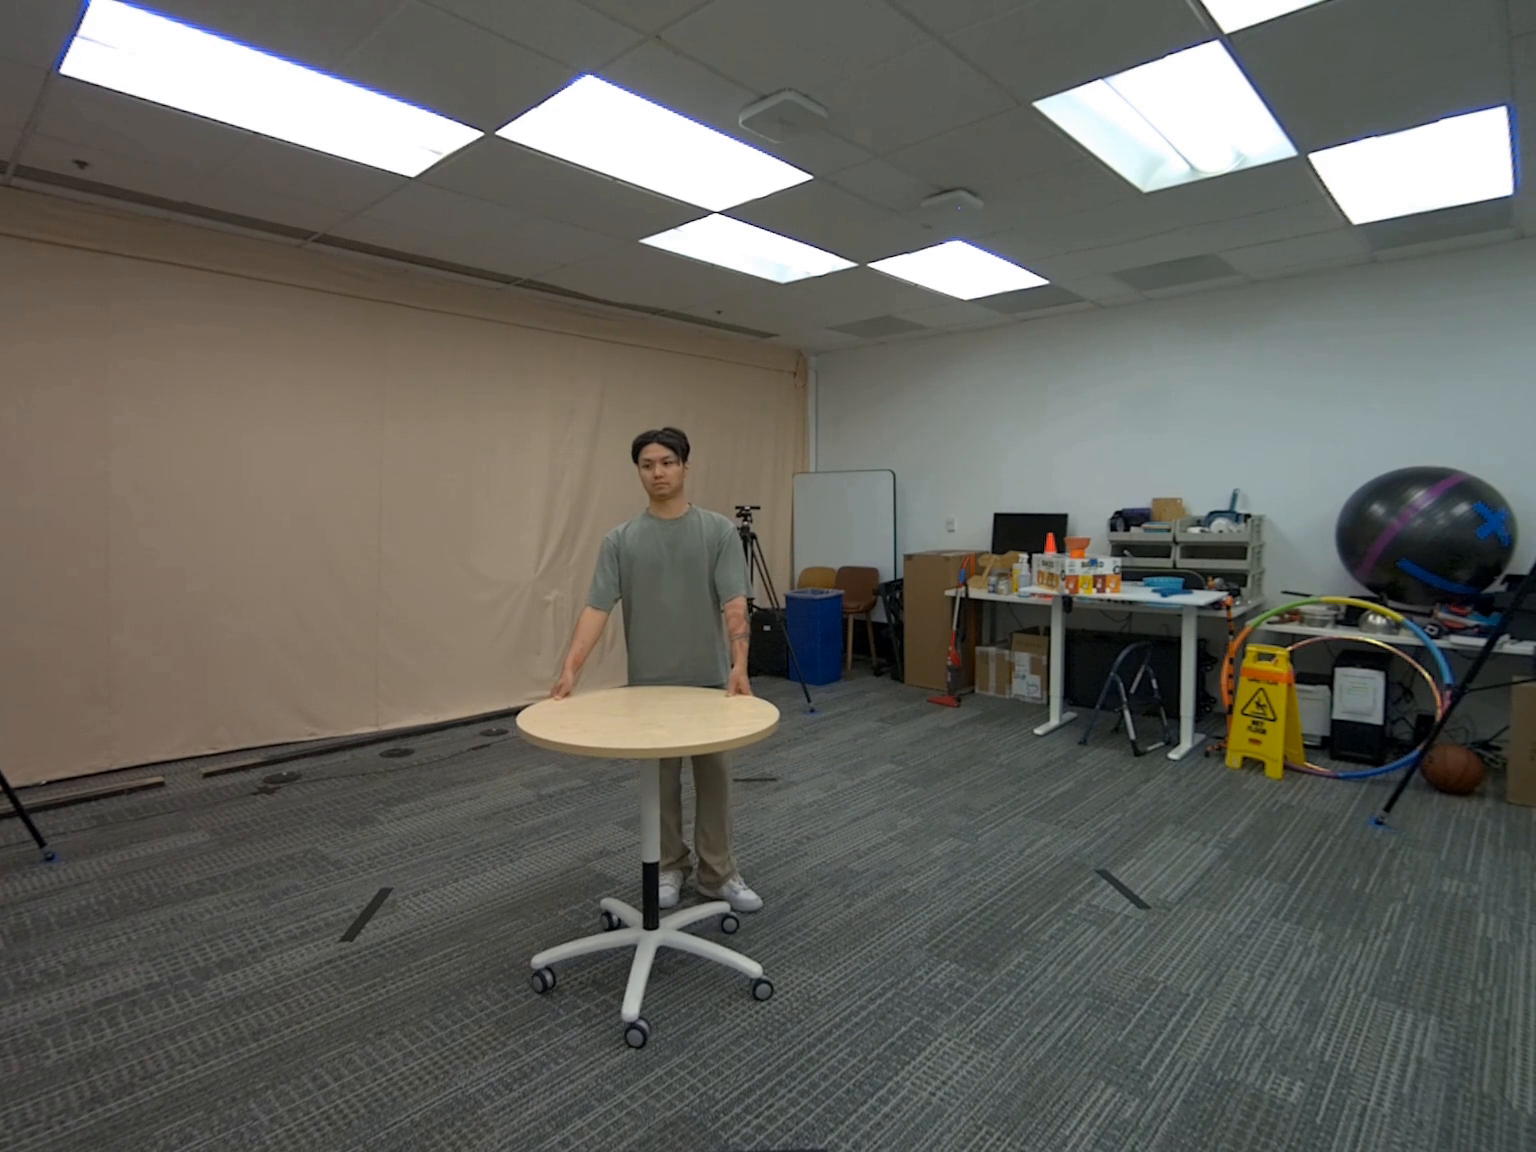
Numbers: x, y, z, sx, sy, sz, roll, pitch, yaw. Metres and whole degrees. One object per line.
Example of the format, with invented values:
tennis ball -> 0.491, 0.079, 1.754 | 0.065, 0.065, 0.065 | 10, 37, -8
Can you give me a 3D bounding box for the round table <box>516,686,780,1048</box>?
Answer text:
round table -> -0.343, 0.791, 2.482 | 0.784, 0.785, 0.787 | 0, 3, -2
